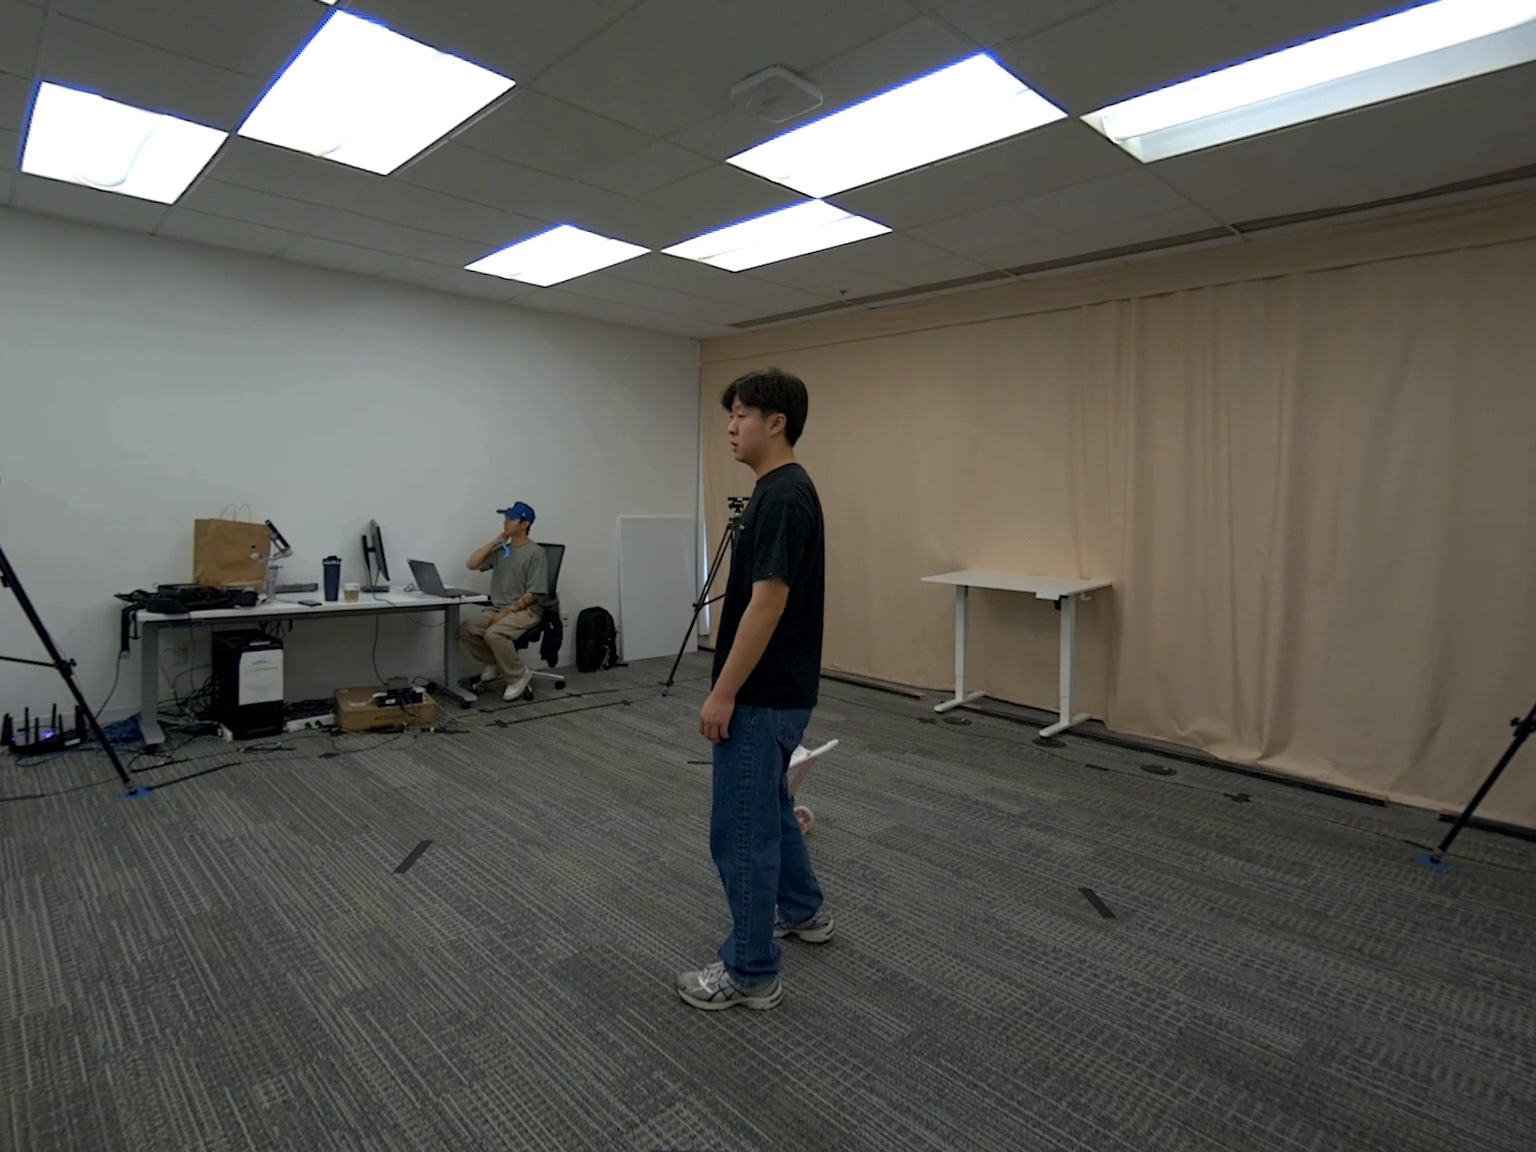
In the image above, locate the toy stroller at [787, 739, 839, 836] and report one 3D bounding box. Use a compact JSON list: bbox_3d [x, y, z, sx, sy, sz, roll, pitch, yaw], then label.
[{"bbox_3d":[0.041,0.860,3.453,0.350,0.532,0.276,22,12,27],"label":"toy stroller"}]
